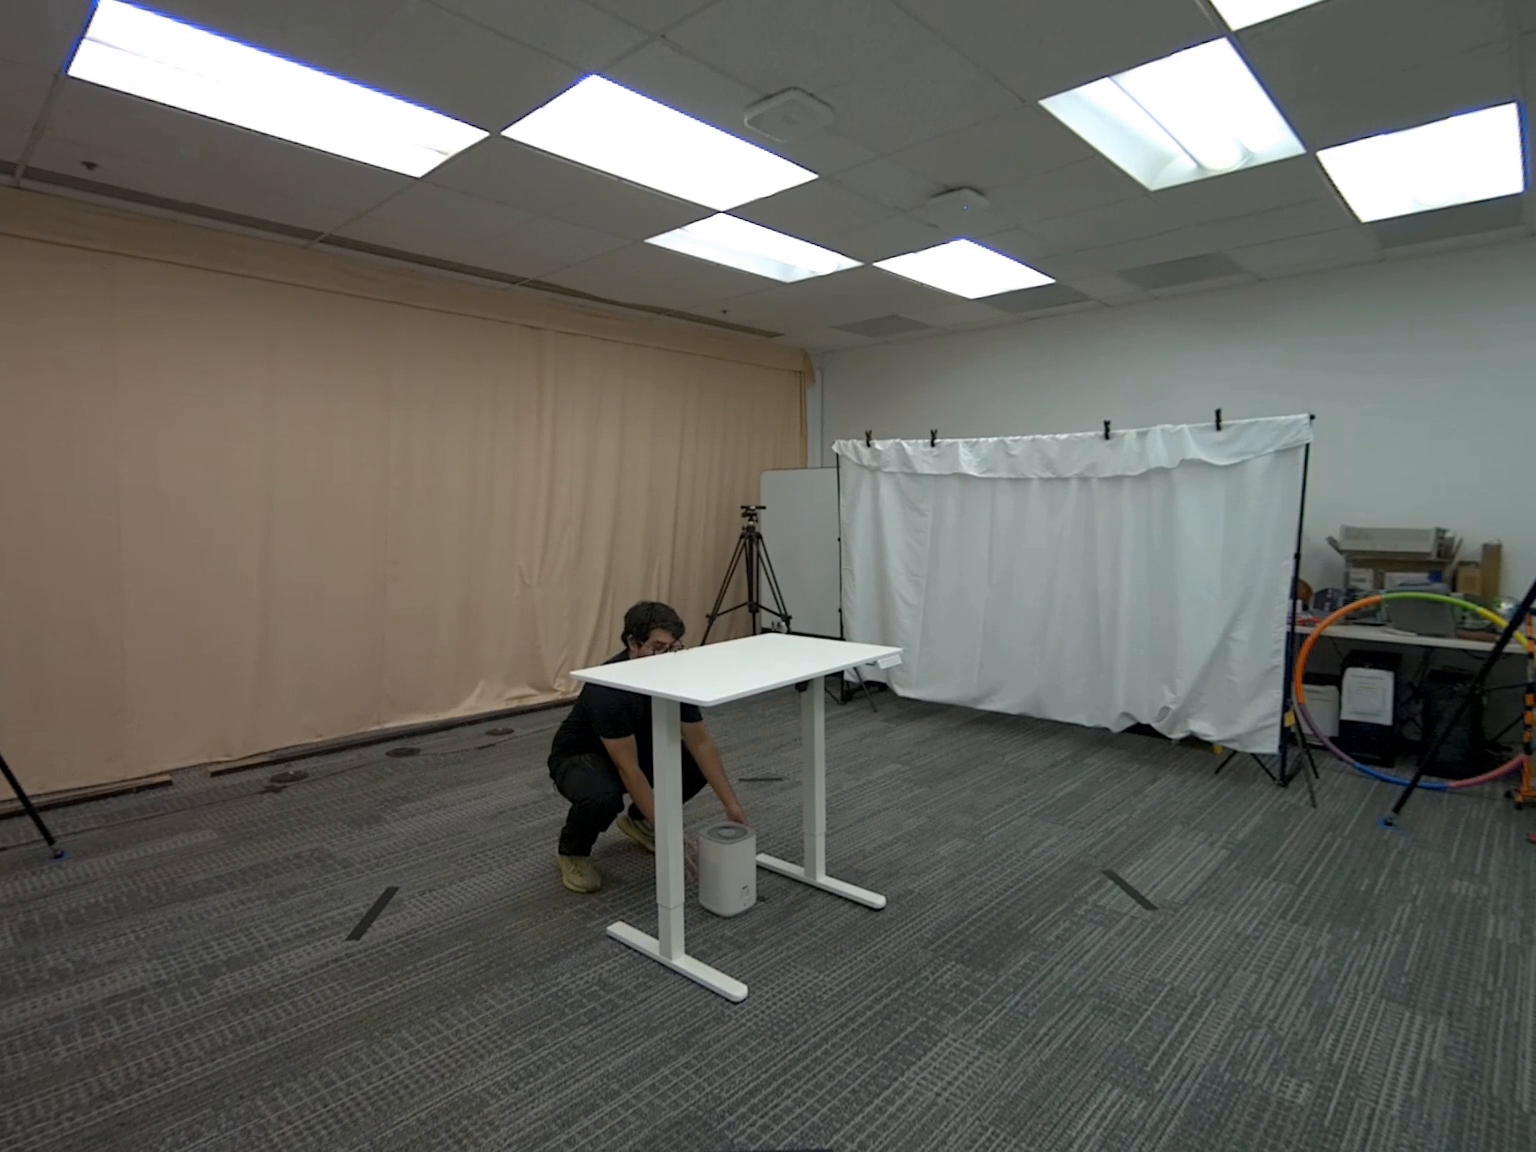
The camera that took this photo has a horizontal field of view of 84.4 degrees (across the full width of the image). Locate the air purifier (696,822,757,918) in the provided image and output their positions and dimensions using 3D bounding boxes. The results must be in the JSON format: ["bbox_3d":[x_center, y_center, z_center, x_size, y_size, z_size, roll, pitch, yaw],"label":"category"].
[{"bbox_3d":[-0.138,1.012,2.920,0.177,0.265,0.166,4,5,42],"label":"air purifier"}]
